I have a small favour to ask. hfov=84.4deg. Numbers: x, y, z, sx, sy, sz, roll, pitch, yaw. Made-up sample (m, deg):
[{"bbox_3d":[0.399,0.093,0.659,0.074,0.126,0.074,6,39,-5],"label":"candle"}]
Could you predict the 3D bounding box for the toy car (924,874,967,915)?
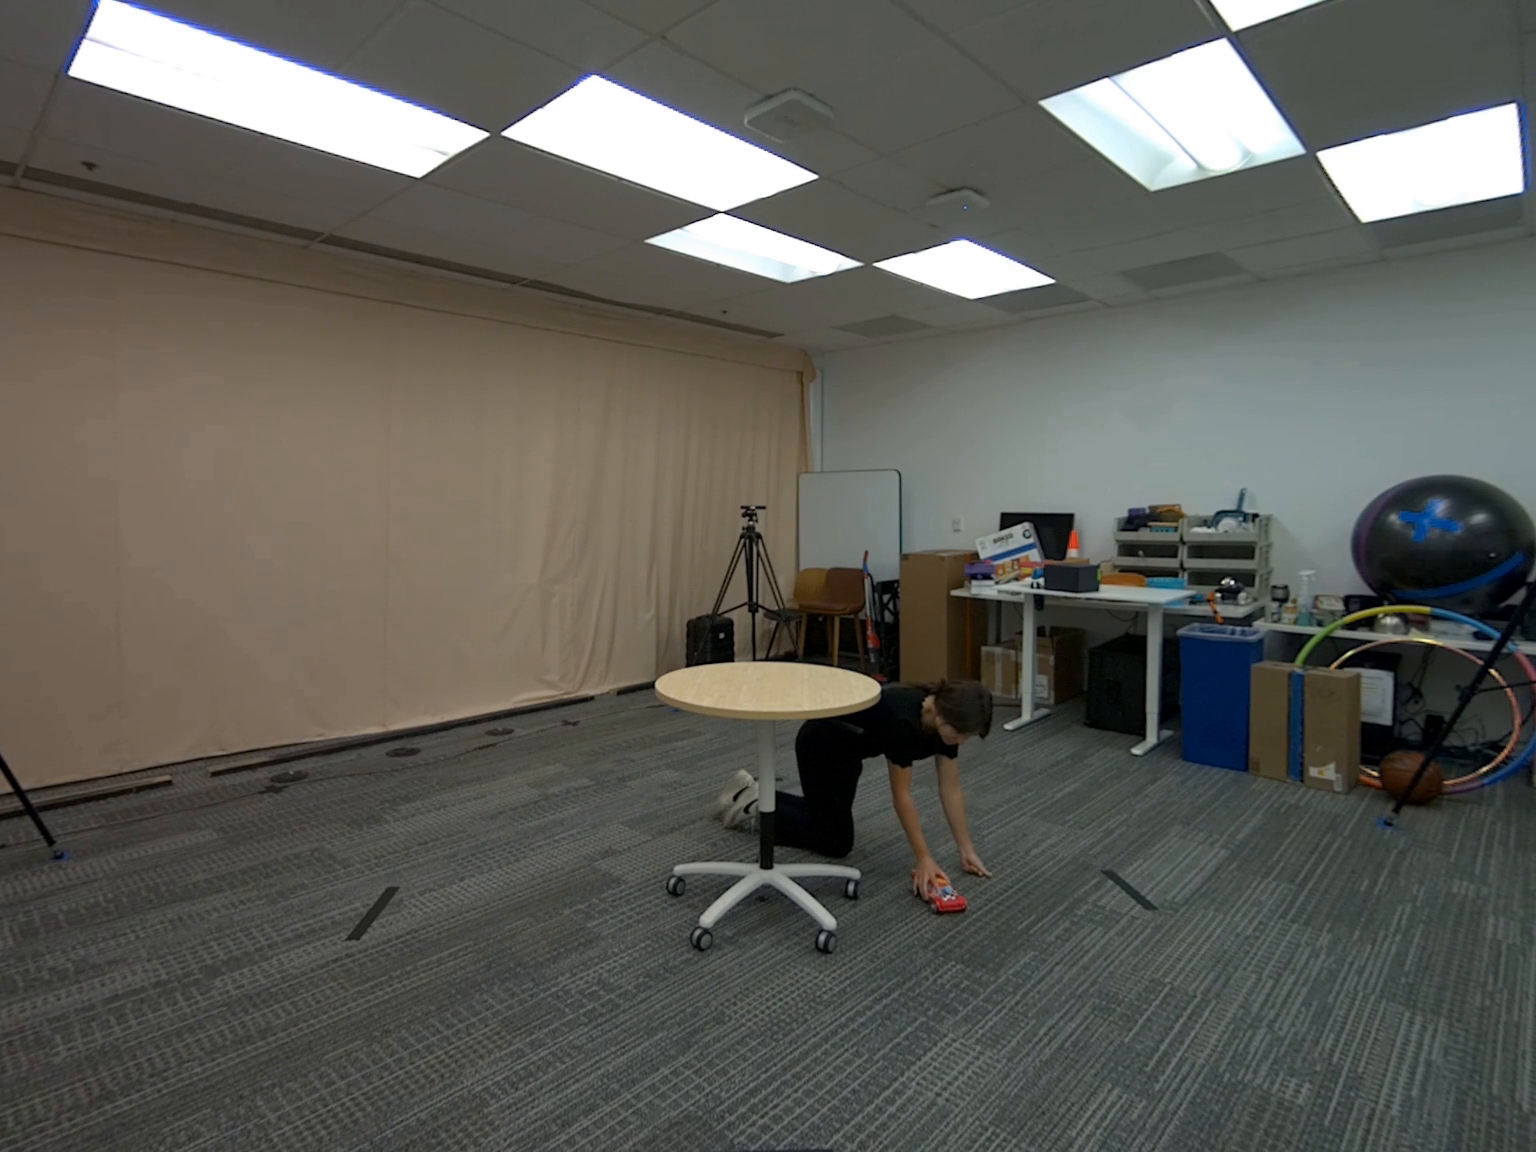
[{"bbox_3d":[0.603,1.114,2.971,0.129,0.082,0.260,-2,15,-13],"label":"toy car"}]
